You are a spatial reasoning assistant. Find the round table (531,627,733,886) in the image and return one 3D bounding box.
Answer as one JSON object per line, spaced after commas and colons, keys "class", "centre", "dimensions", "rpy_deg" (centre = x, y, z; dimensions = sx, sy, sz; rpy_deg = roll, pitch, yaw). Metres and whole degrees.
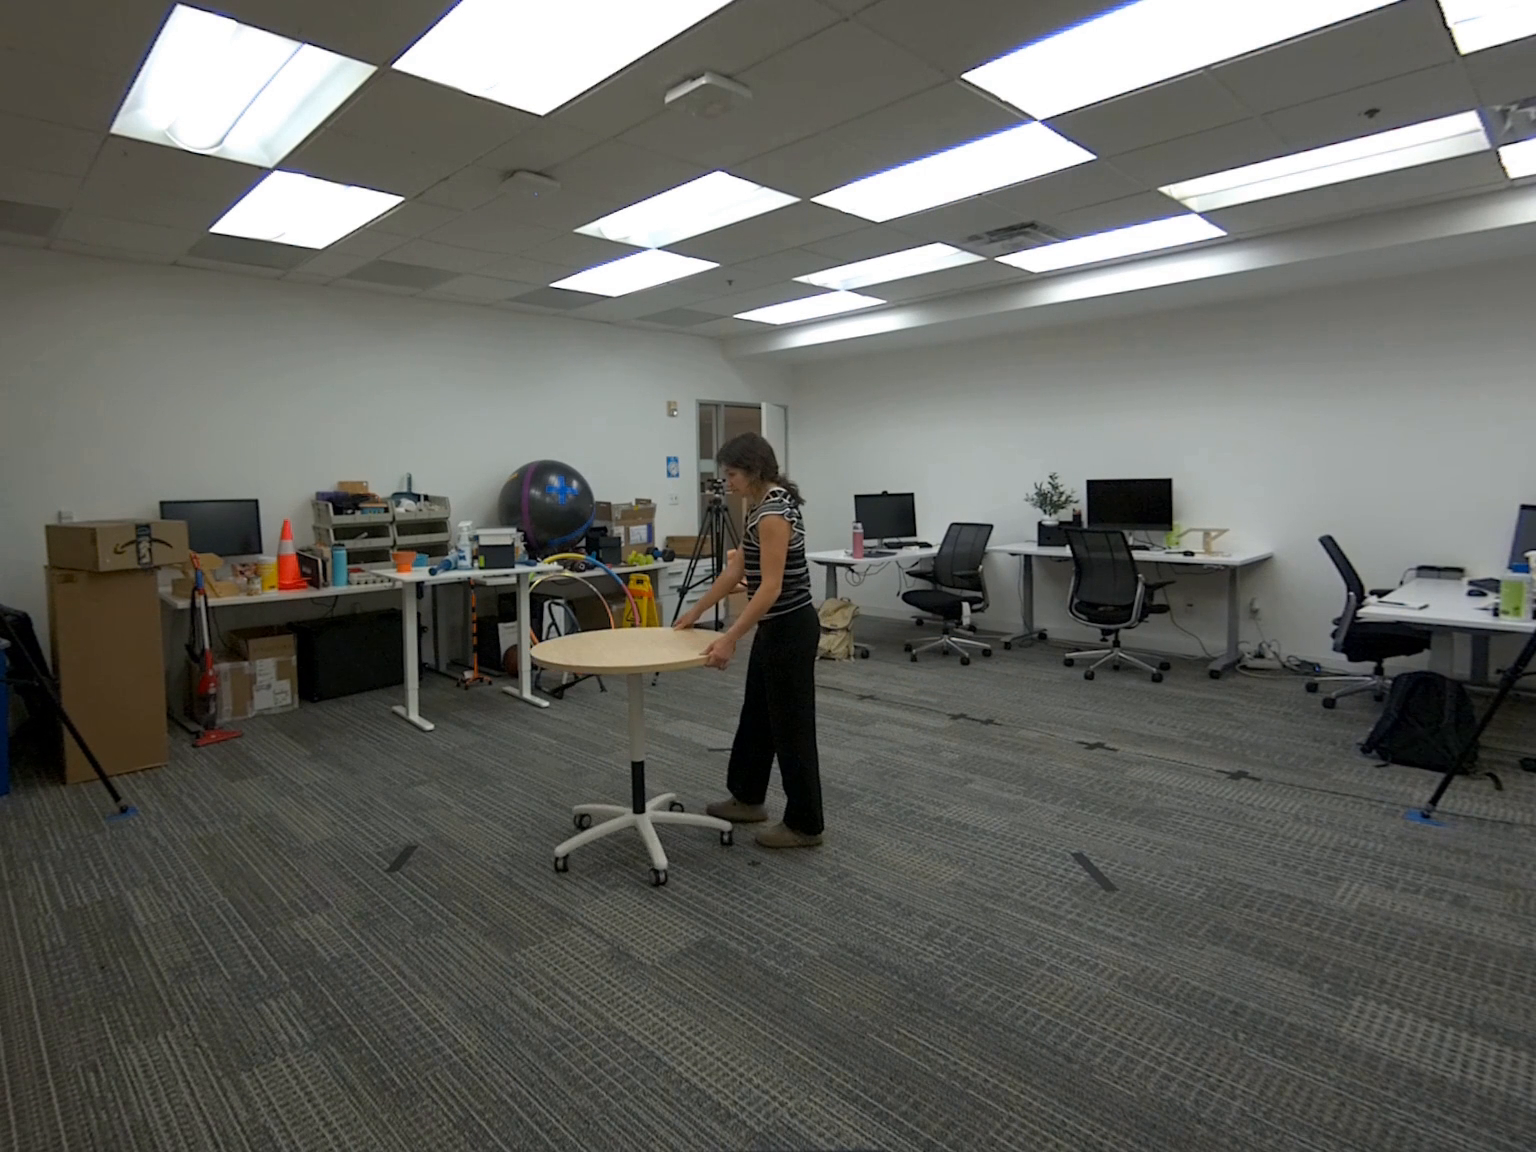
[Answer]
{"class": "round table", "centre": [-0.506, 0.643, 3.225], "dimensions": [0.784, 0.784, 0.789], "rpy_deg": [-1, 5, -2]}
